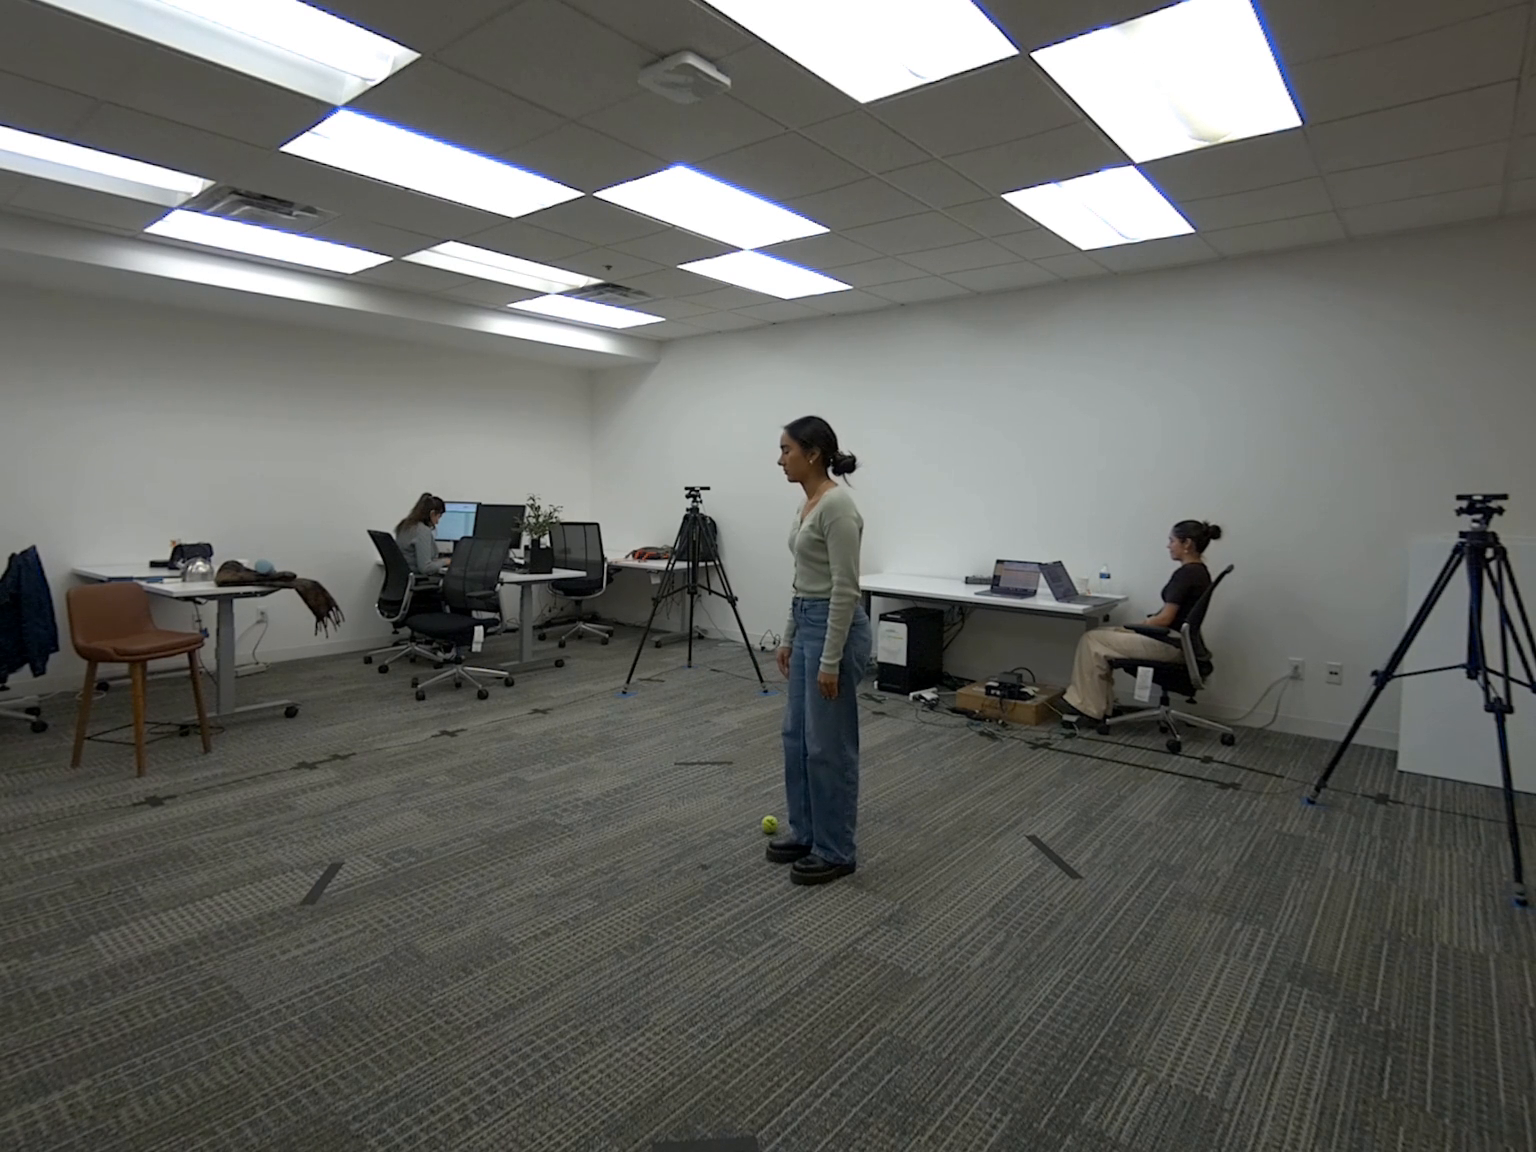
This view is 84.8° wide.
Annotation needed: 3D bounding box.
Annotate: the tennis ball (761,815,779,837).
[{"bbox_3d":[-0.005,0.988,3.450,0.066,0.066,0.067,1,4,-2],"label":"tennis ball"}]
